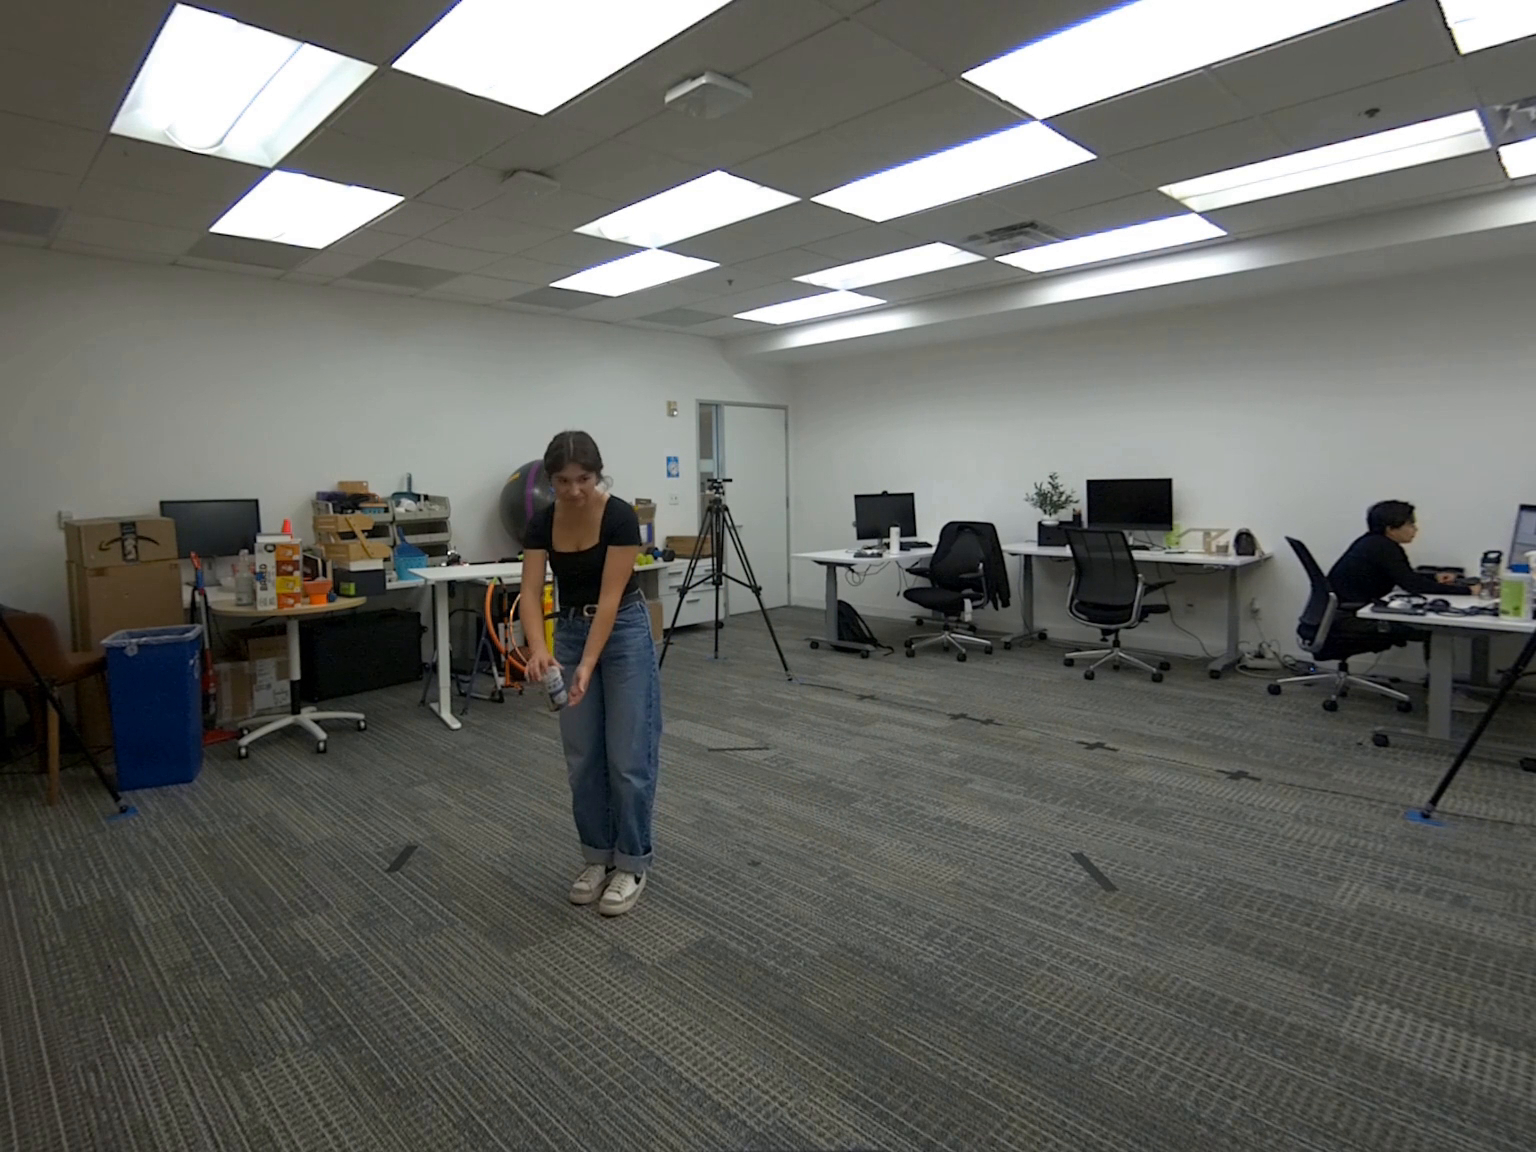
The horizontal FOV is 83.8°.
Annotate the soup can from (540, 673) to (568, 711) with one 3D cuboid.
[{"bbox_3d":[-0.626,0.386,2.531,0.067,0.121,0.067,-11,7,0],"label":"soup can"}]
